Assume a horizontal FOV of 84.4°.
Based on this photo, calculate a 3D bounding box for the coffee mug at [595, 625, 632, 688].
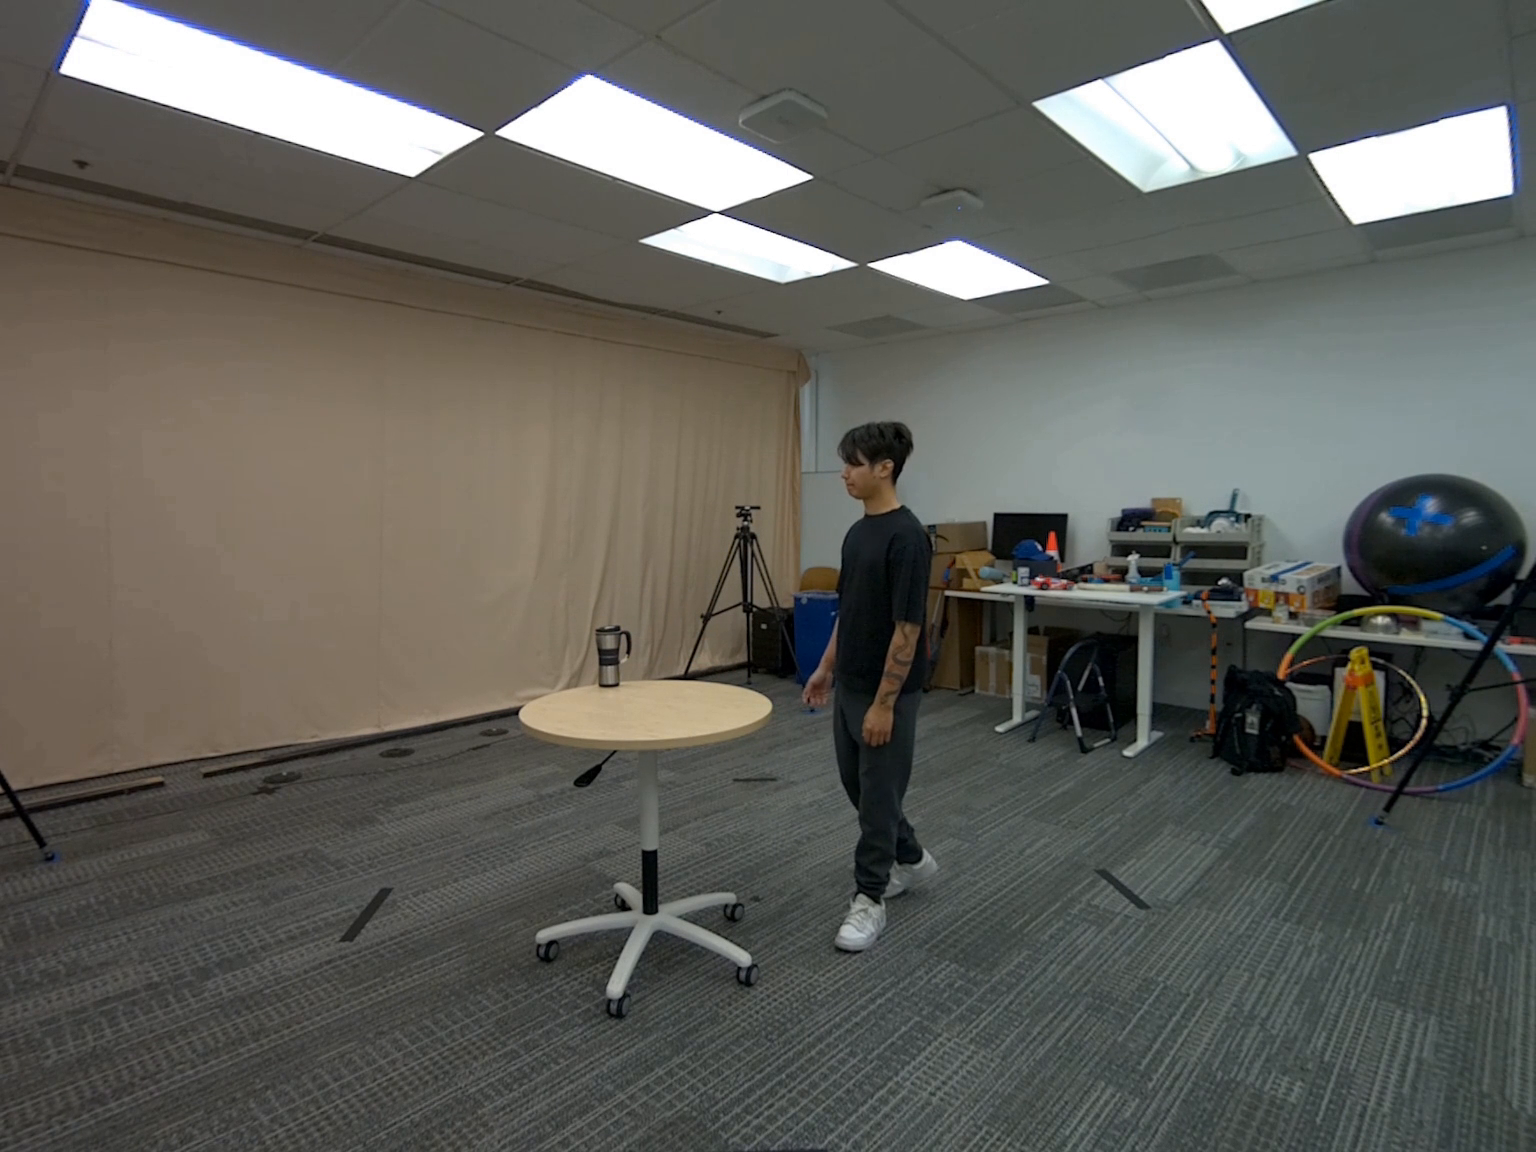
[{"bbox_3d":[-0.528,0.278,2.865,0.126,0.203,0.085,-3,-3,39],"label":"coffee mug"}]
